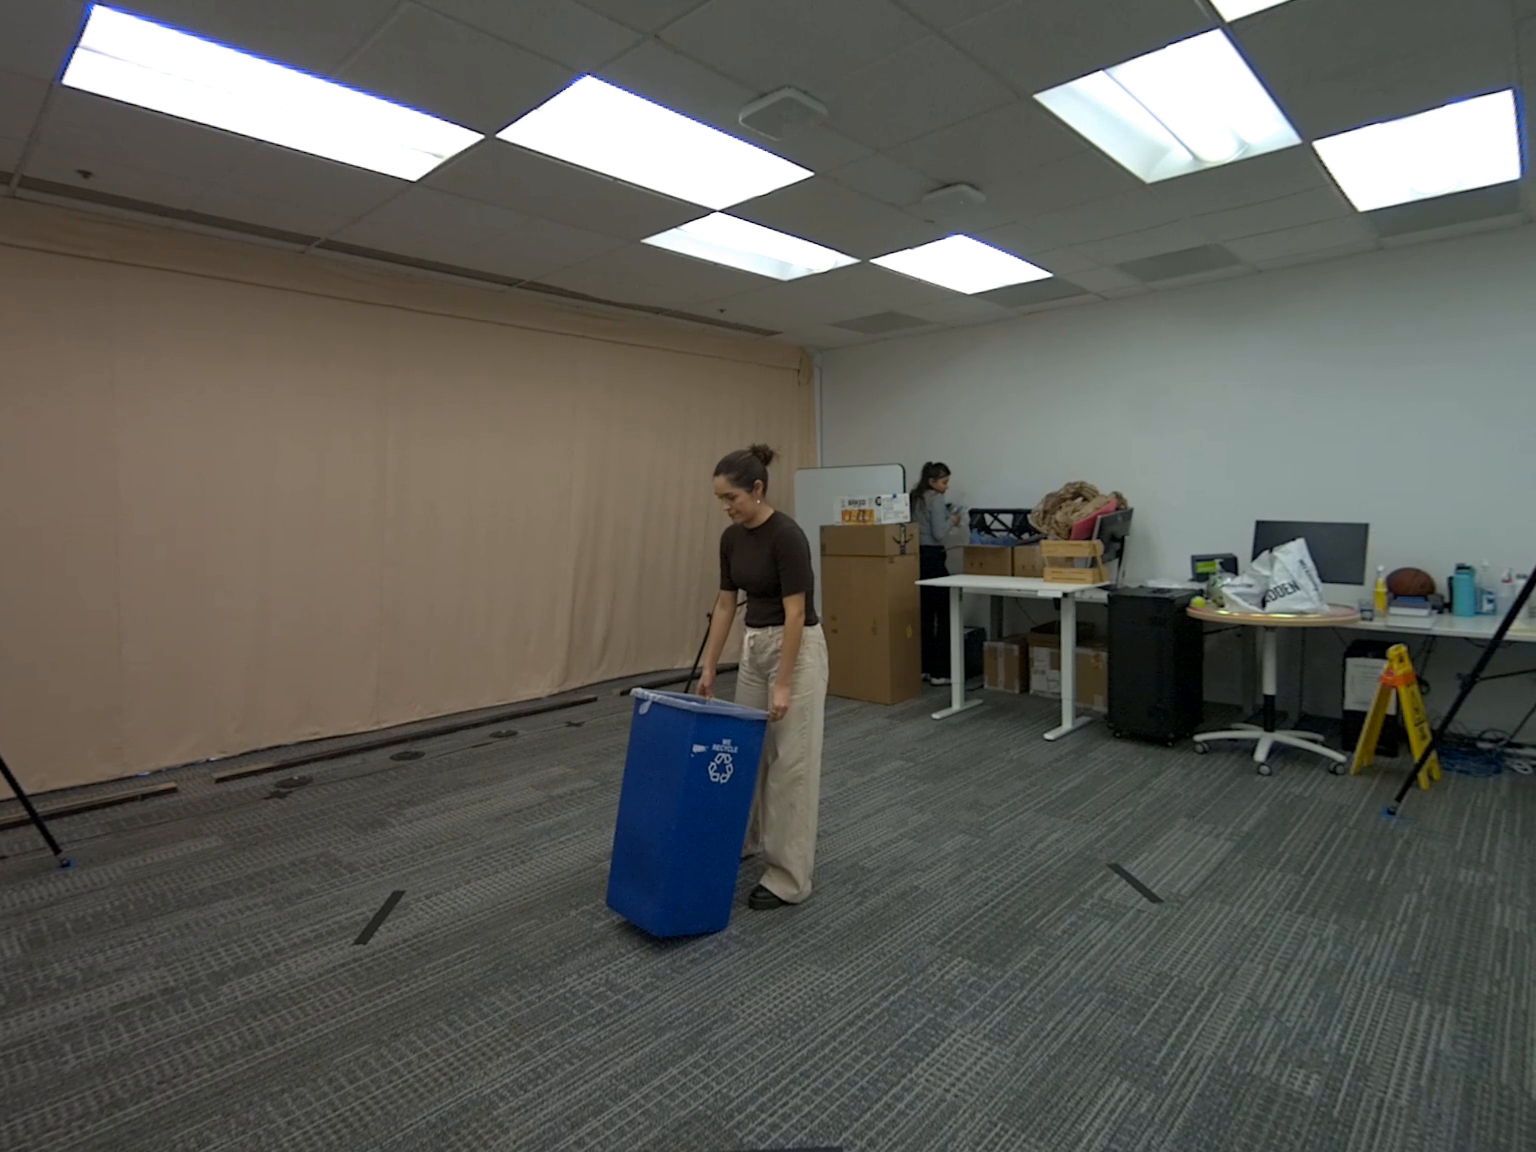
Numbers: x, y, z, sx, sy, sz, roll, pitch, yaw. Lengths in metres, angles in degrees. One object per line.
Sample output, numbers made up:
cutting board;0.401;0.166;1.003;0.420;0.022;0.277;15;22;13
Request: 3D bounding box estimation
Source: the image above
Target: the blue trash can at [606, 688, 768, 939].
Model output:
blue trash can;-0.277;0.776;2.836;0.361;0.715;0.390;15;-9;-43
